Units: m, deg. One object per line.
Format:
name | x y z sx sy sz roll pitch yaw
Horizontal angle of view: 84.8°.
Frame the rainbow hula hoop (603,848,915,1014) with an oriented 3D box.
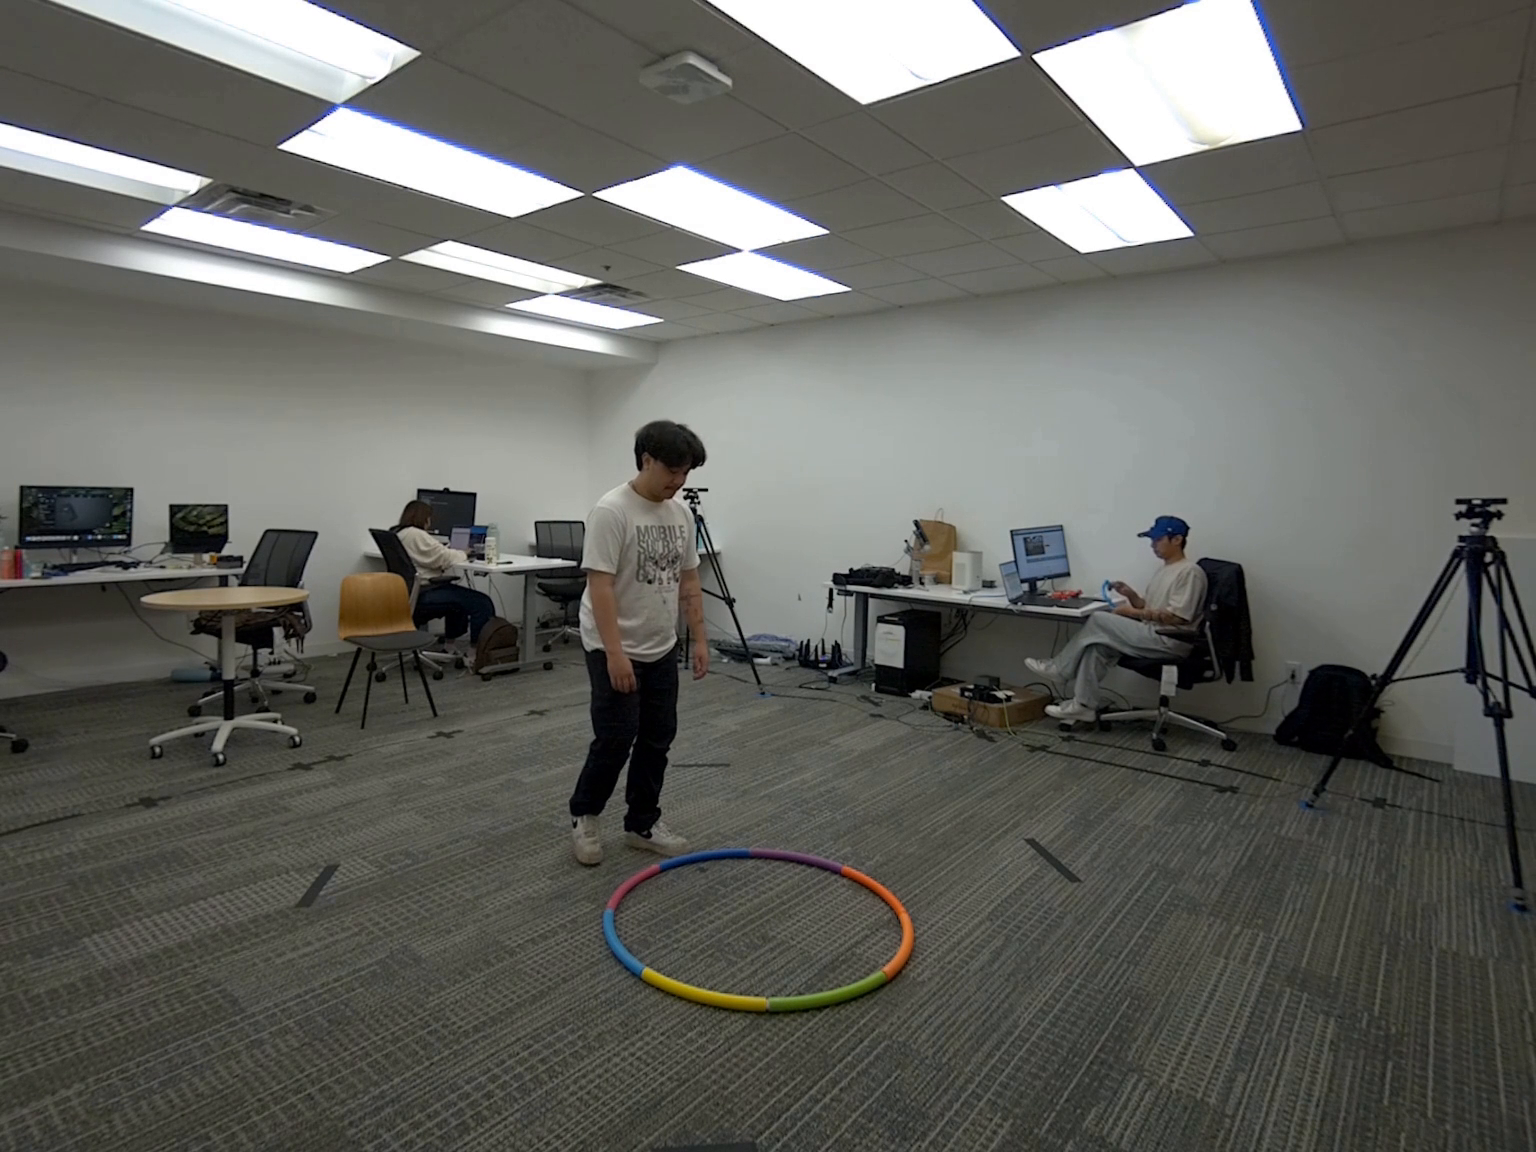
rainbow hula hoop | -0.041 1.083 2.743 0.984 0.051 0.990 0 5 -2
